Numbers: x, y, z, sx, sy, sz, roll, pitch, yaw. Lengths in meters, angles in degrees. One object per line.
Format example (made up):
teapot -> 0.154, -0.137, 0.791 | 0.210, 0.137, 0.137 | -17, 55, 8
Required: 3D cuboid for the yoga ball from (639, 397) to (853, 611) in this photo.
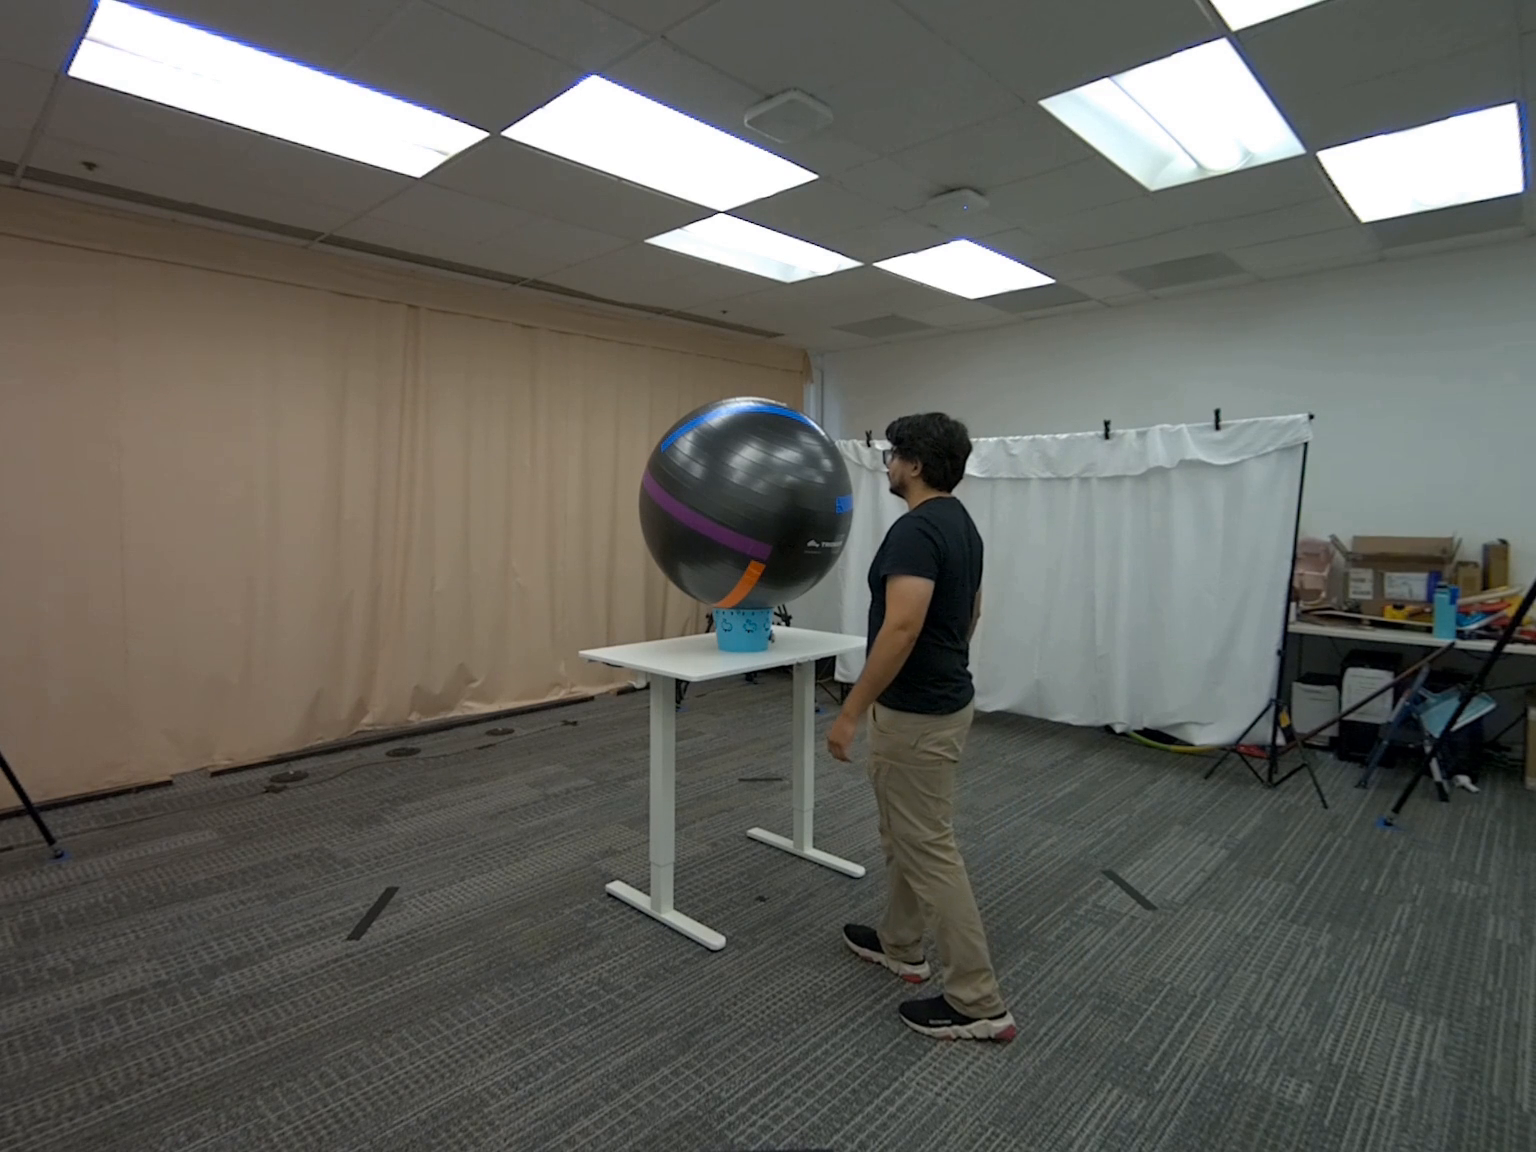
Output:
yoga ball -> -0.072, -0.249, 2.990 | 0.757, 0.756, 0.760 | 0, 4, -2
